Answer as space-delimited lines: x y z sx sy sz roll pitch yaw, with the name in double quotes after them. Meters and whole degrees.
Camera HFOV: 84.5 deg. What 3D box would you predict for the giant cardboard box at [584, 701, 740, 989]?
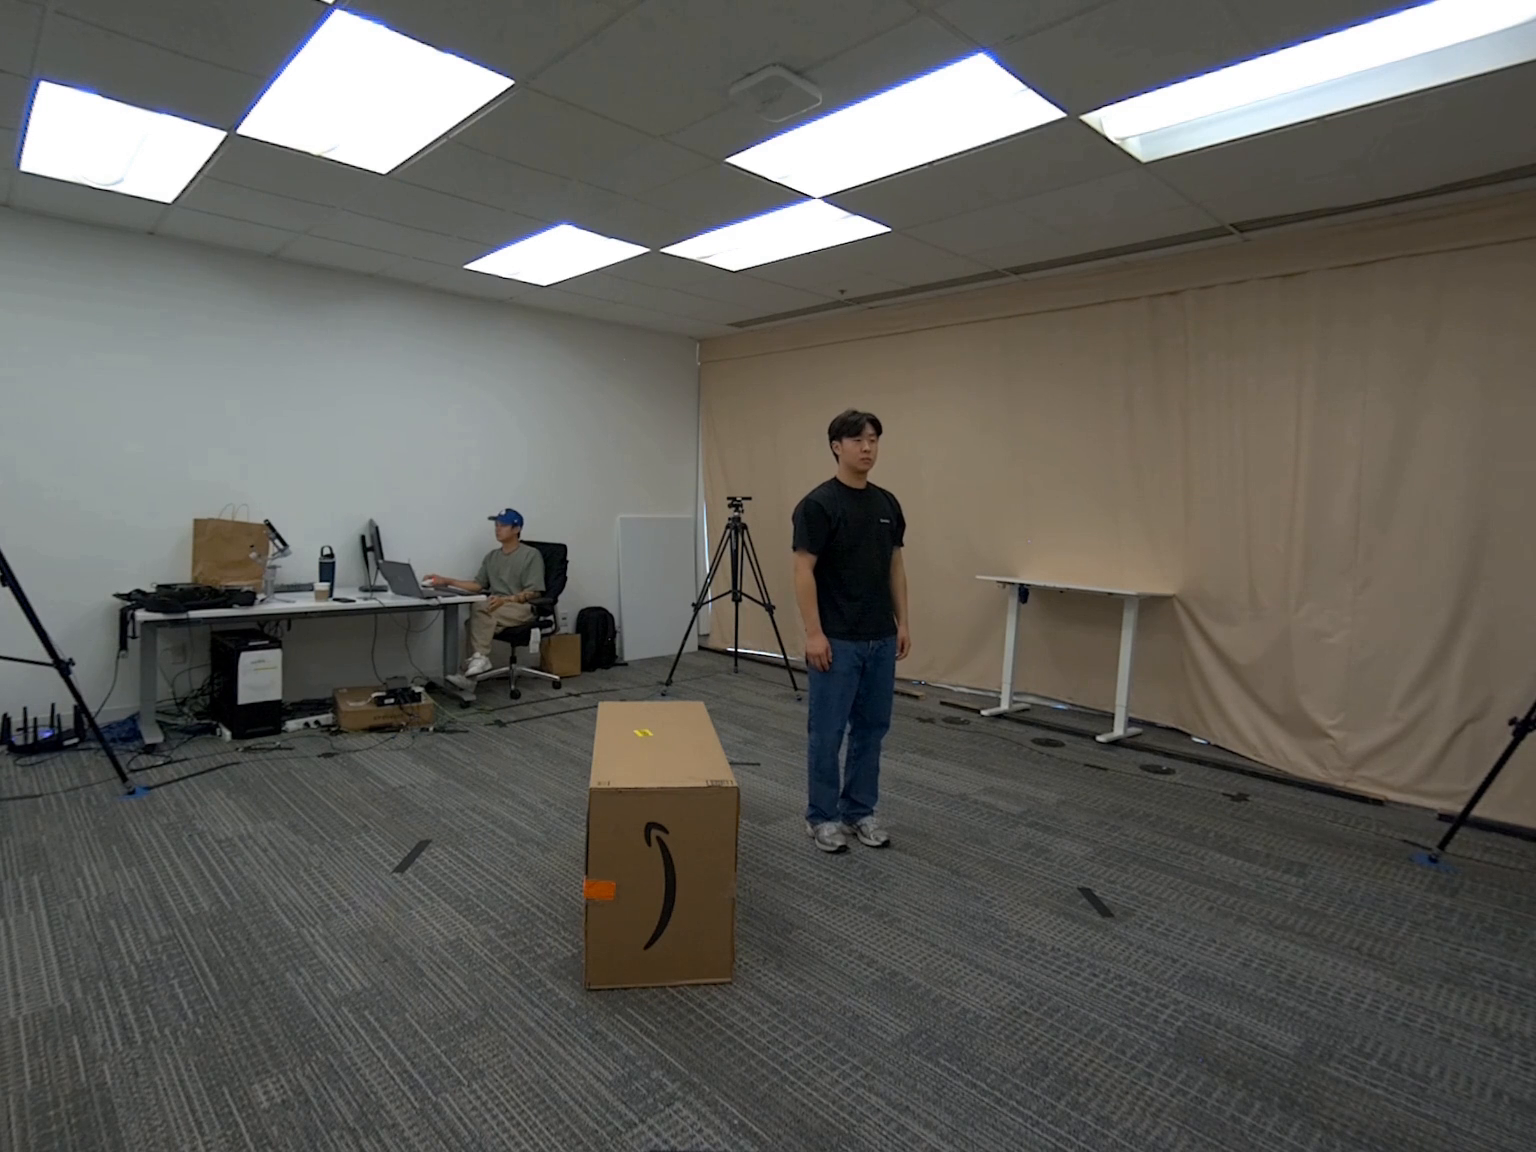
-0.394 0.835 2.876 0.443 0.582 1.037 0 4 -10 "giant cardboard box"
